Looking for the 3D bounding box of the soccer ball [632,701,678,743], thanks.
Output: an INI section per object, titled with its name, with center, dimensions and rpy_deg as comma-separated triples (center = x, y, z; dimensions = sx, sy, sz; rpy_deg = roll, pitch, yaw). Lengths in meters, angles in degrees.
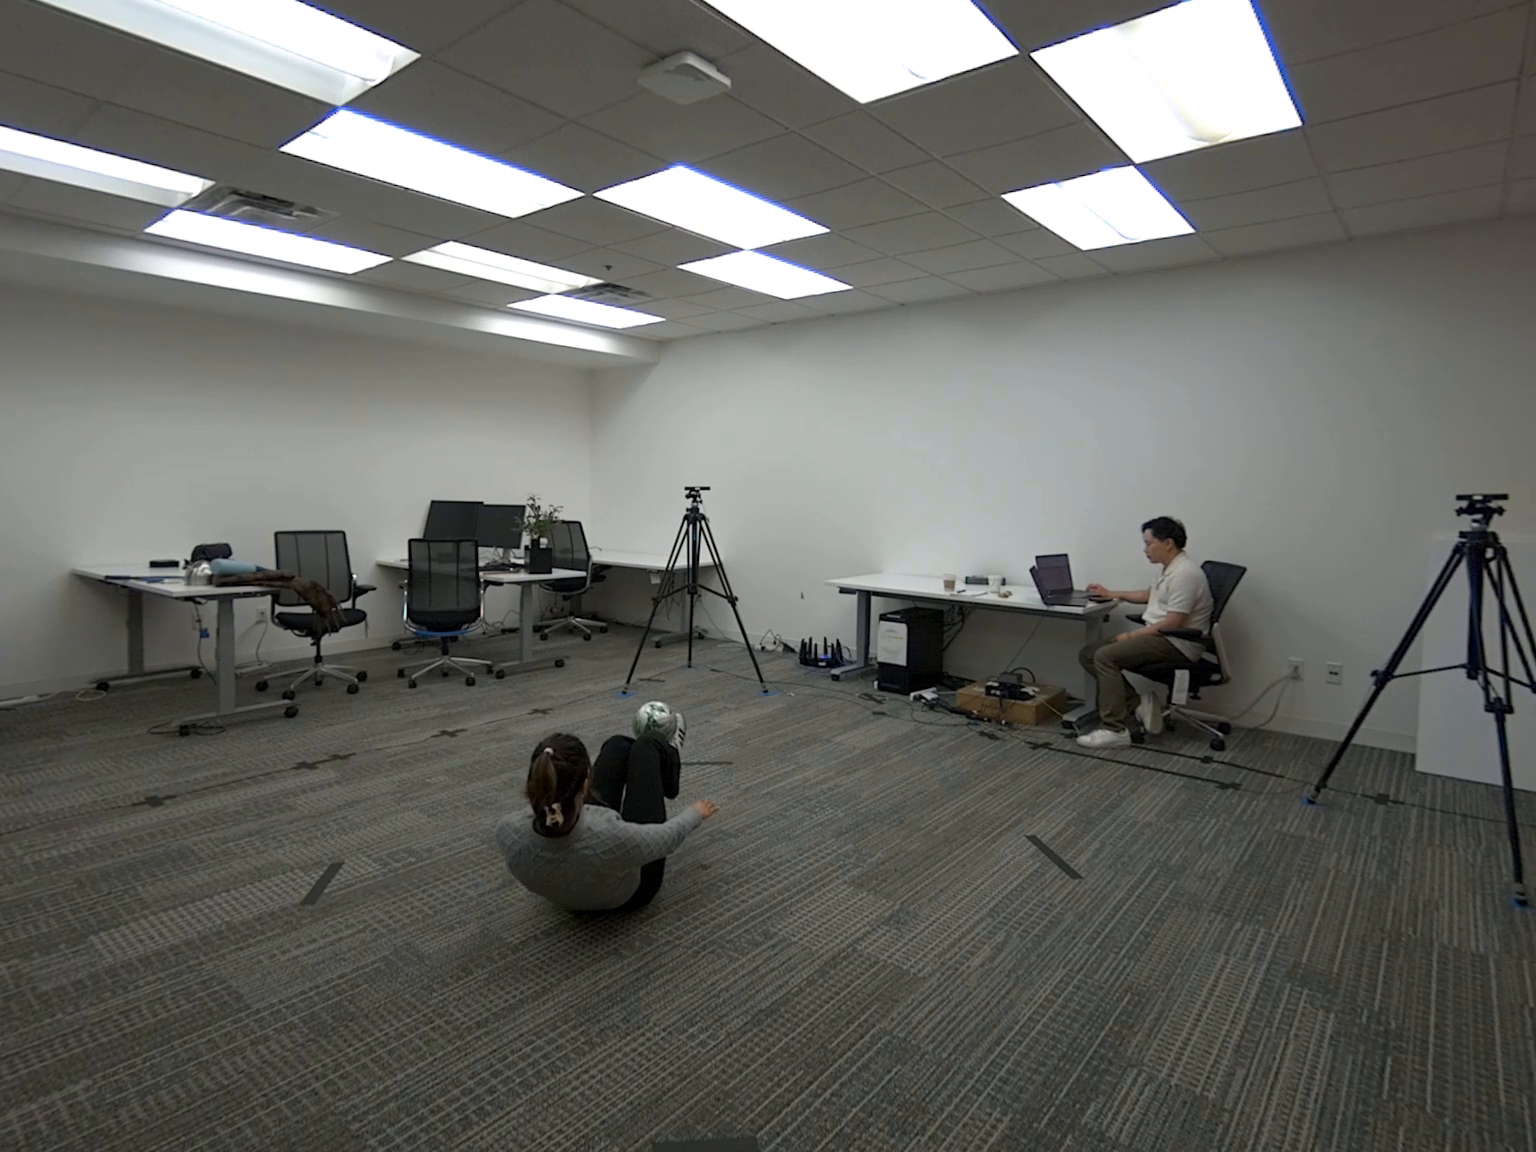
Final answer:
[soccer ball]
center = -0.472, 0.605, 3.475
dimensions = 0.187, 0.187, 0.188
rpy_deg = 0, 4, -2
